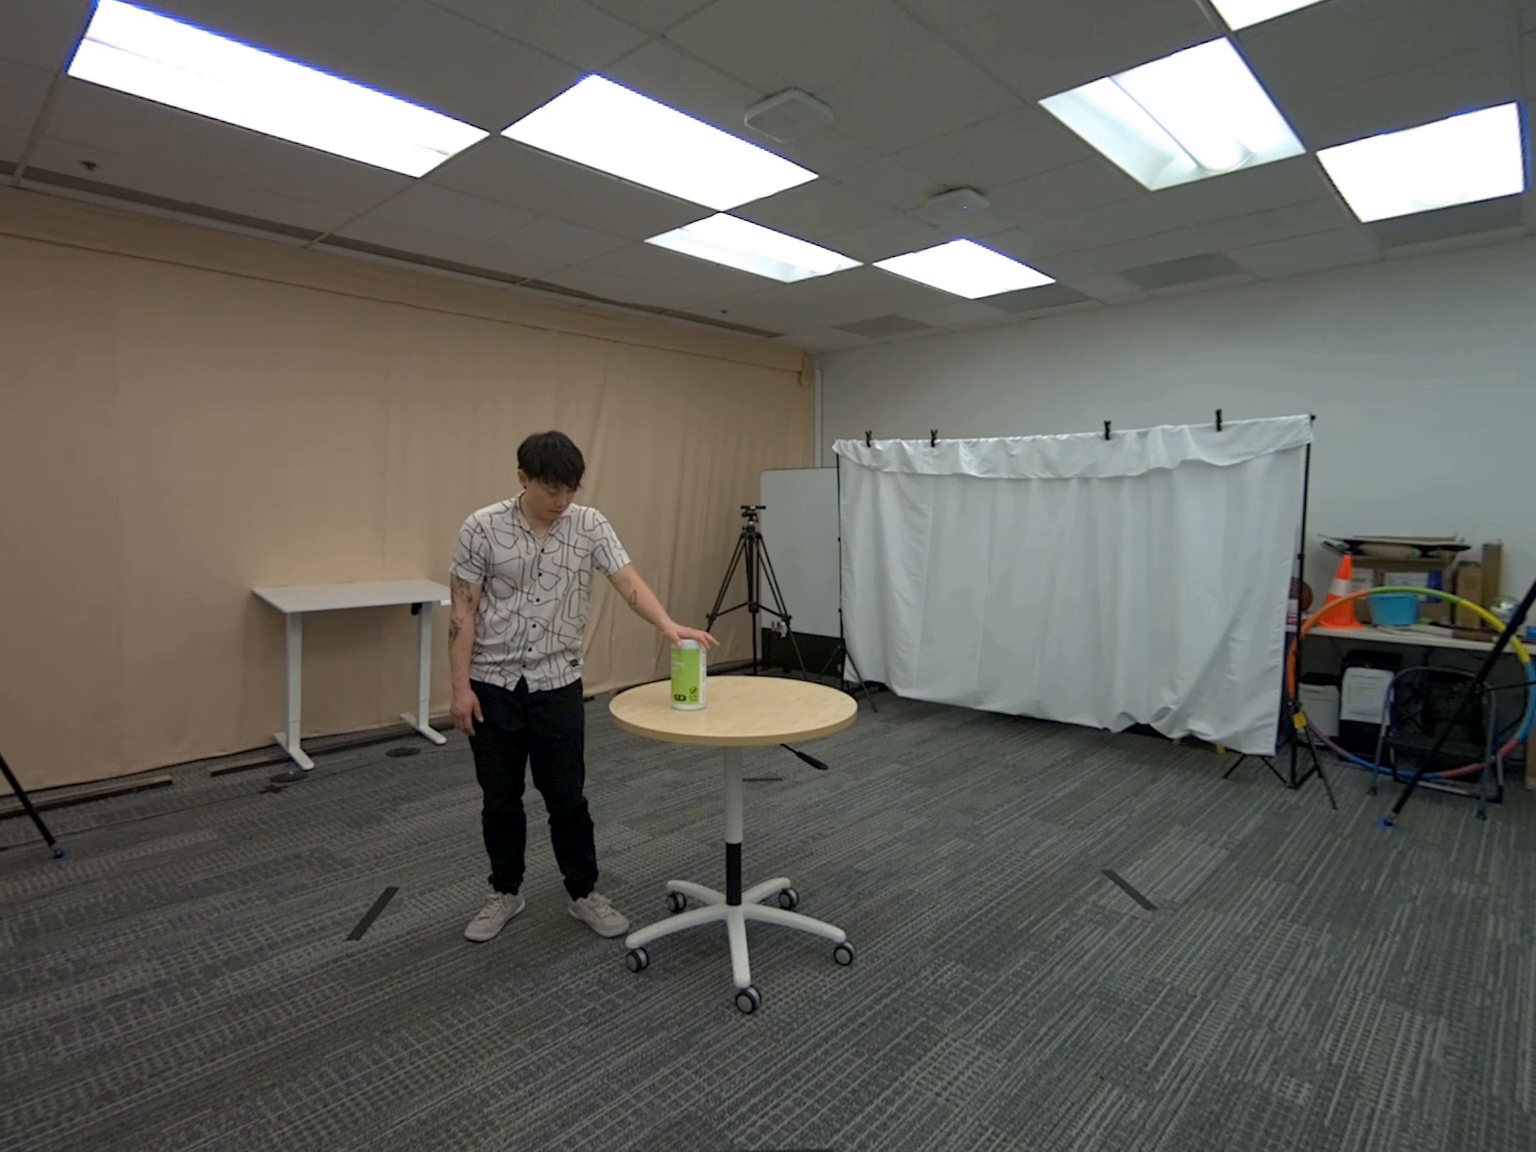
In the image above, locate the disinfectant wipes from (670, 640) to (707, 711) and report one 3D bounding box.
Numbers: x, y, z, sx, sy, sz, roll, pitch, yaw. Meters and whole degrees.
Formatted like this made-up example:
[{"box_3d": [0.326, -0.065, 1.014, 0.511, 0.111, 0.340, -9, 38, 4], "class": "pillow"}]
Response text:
[{"box_3d": [-0.238, 0.295, 2.556, 0.118, 0.217, 0.118, -1, 4, -2], "class": "disinfectant wipes"}]
